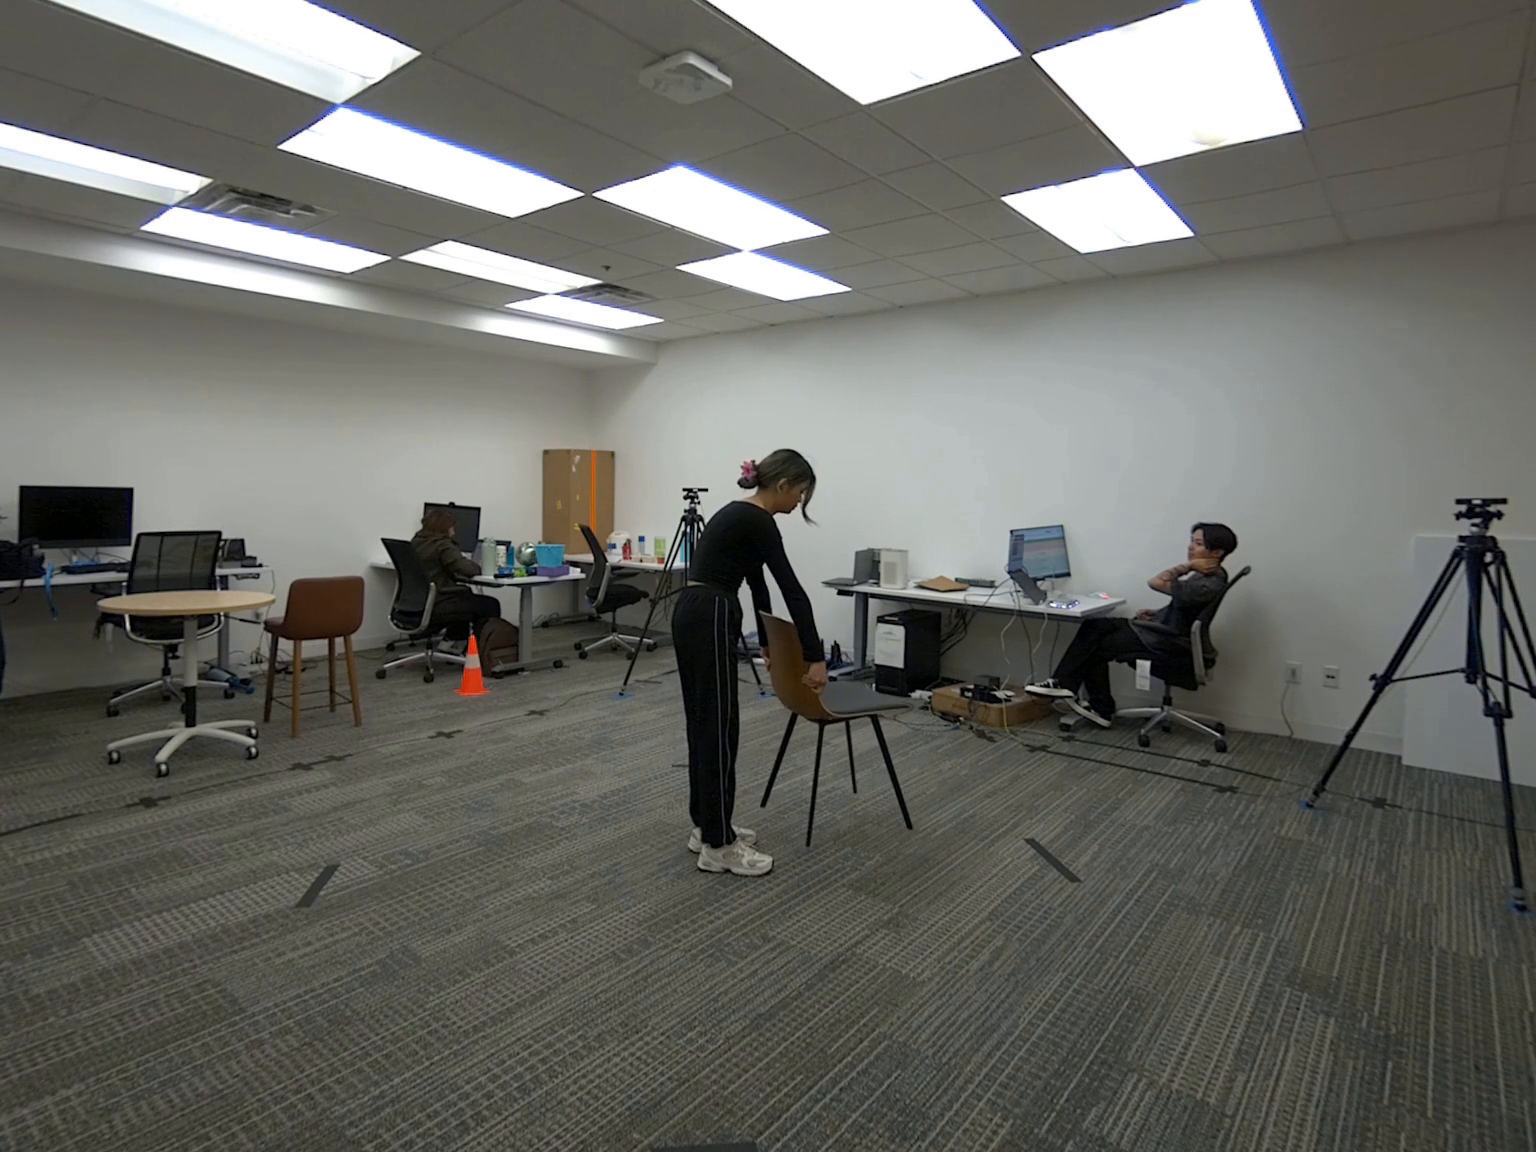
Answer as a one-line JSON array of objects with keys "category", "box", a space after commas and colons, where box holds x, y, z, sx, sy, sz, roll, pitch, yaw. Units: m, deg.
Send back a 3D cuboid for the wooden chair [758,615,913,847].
[{"category": "wooden chair", "box": [0.255, 0.549, 3.397, 0.513, 0.874, 0.489, -7, 5, -22]}]
